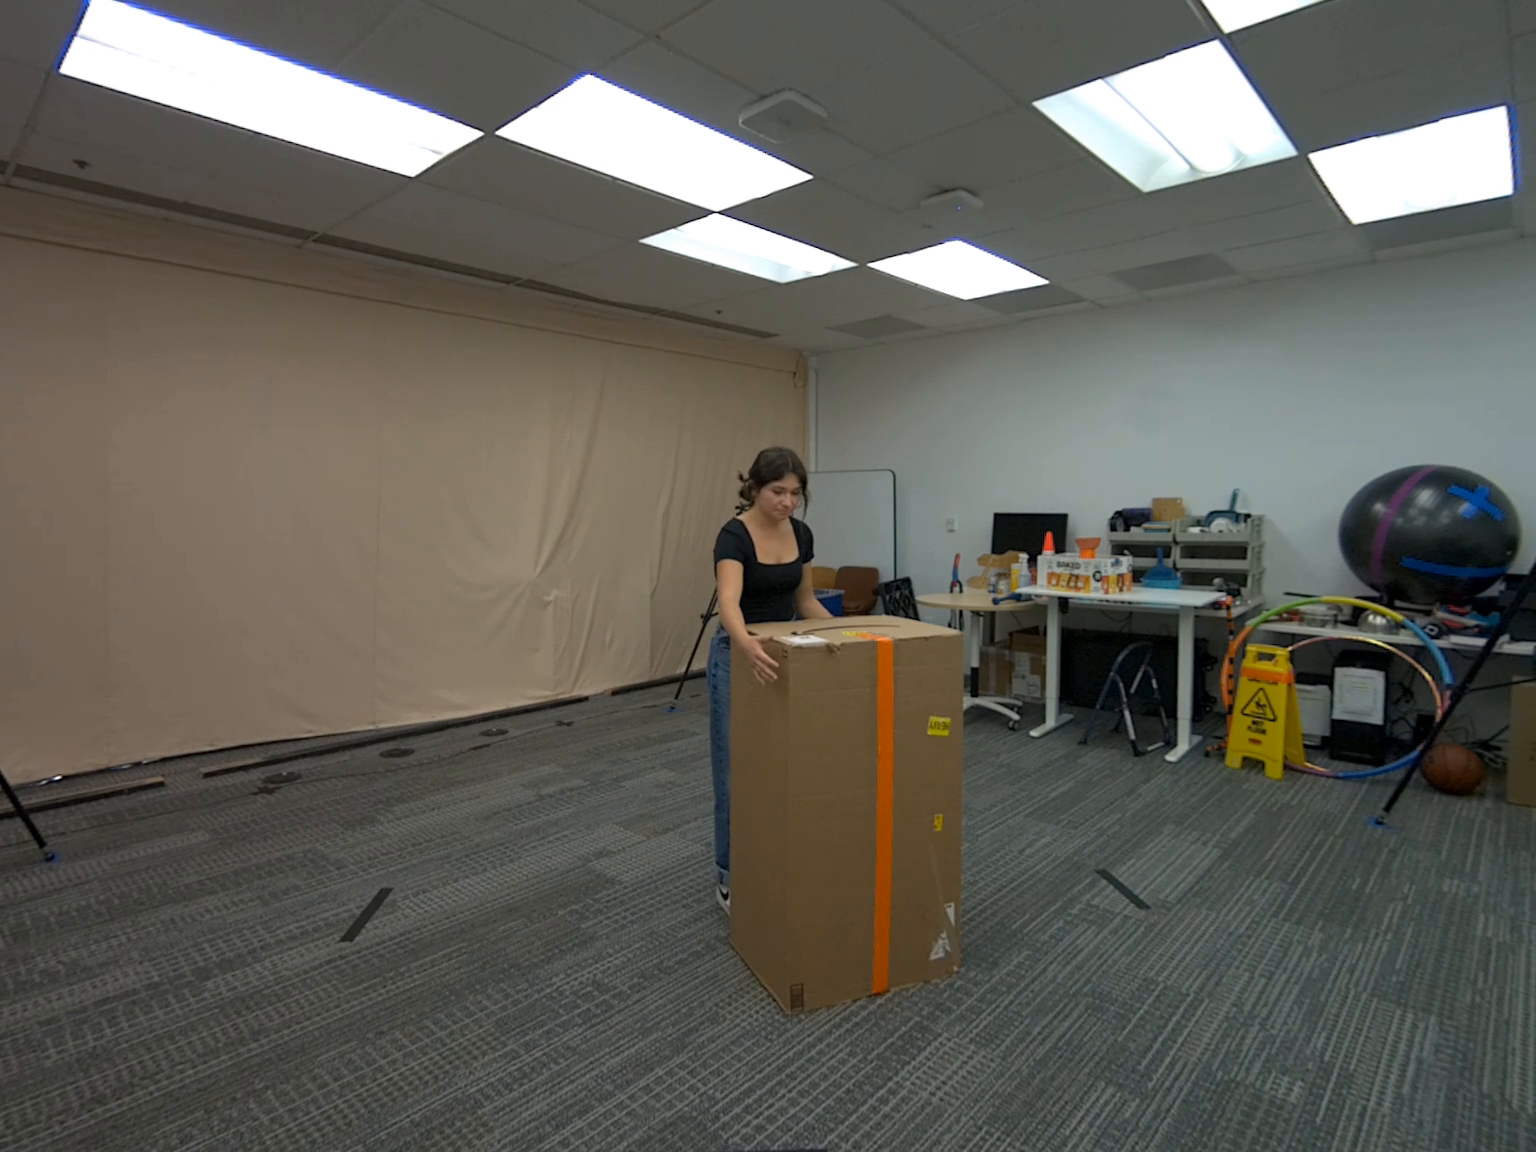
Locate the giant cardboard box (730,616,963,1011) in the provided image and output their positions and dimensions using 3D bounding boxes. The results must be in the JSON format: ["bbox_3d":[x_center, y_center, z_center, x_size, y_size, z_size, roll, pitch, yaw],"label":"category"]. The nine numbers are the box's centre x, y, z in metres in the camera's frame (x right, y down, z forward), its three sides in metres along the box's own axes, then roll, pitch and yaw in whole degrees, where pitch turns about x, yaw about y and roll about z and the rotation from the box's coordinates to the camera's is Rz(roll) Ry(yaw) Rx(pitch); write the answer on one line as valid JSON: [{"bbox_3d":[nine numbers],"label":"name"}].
[{"bbox_3d":[0.233,0.669,2.567,0.564,1.024,0.437,-1,3,-24],"label":"giant cardboard box"}]
